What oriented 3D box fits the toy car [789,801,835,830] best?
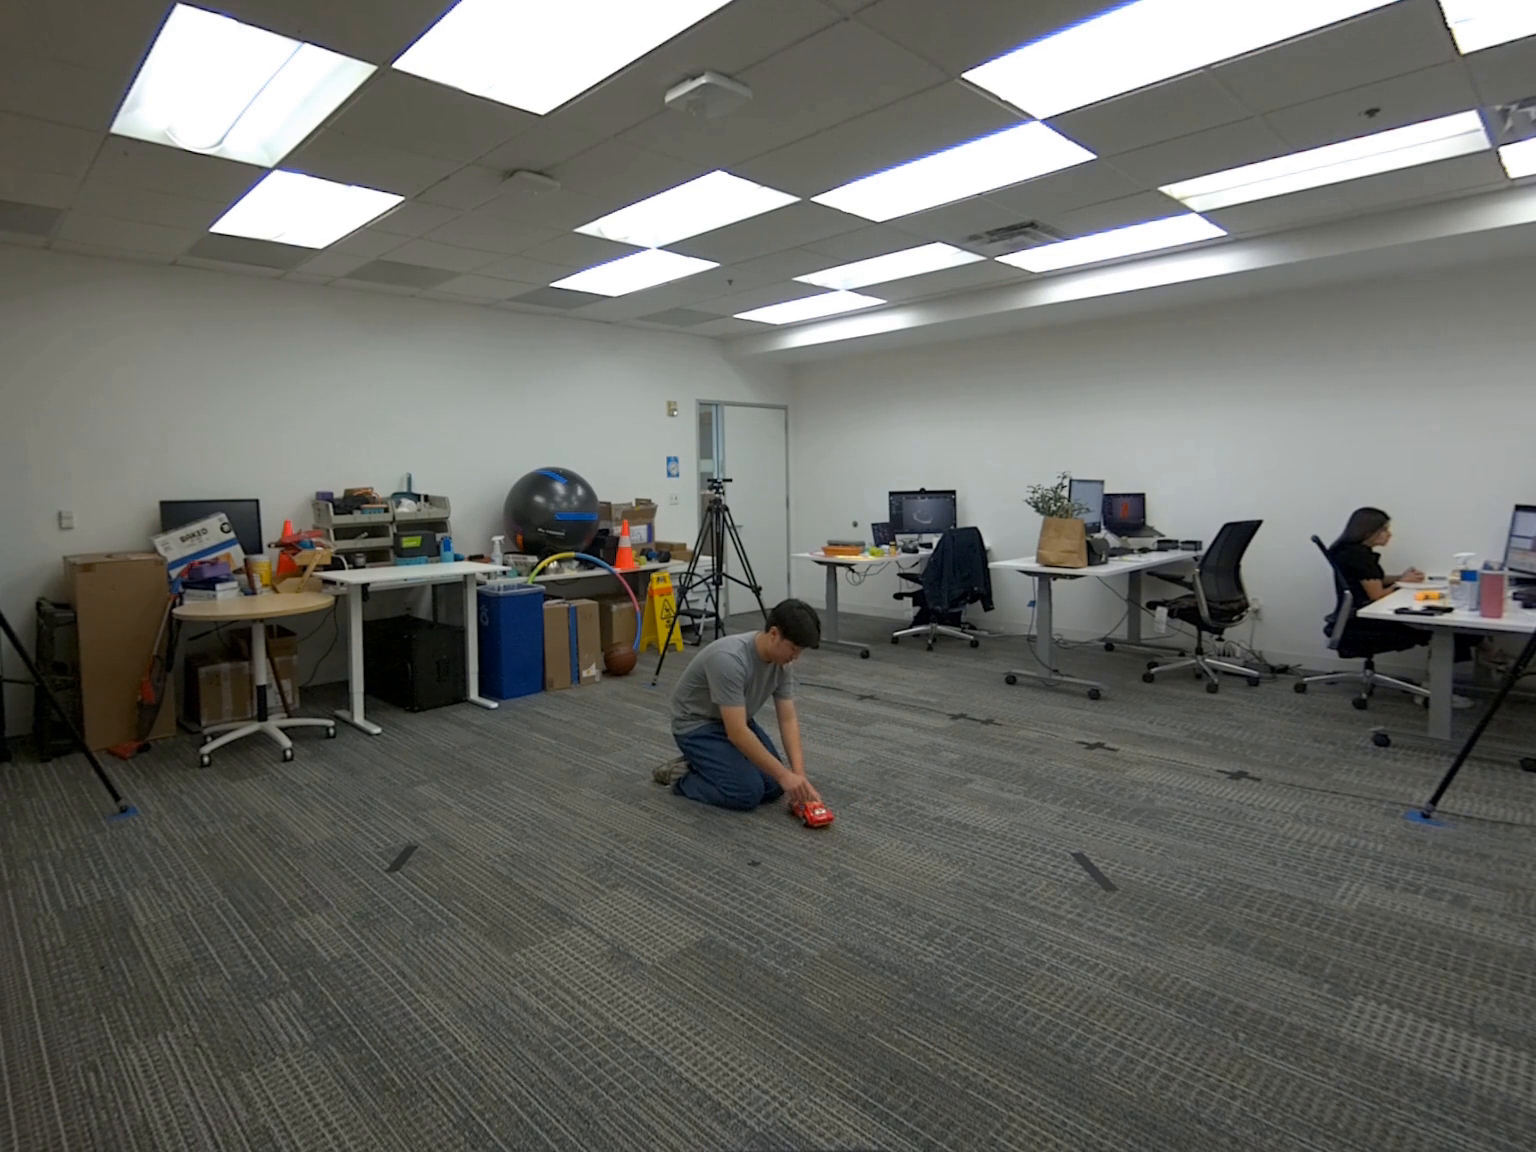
[{"bbox_3d":[0.179,0.968,3.480,0.128,0.084,0.257,-1,-6,-20],"label":"toy car"}]
